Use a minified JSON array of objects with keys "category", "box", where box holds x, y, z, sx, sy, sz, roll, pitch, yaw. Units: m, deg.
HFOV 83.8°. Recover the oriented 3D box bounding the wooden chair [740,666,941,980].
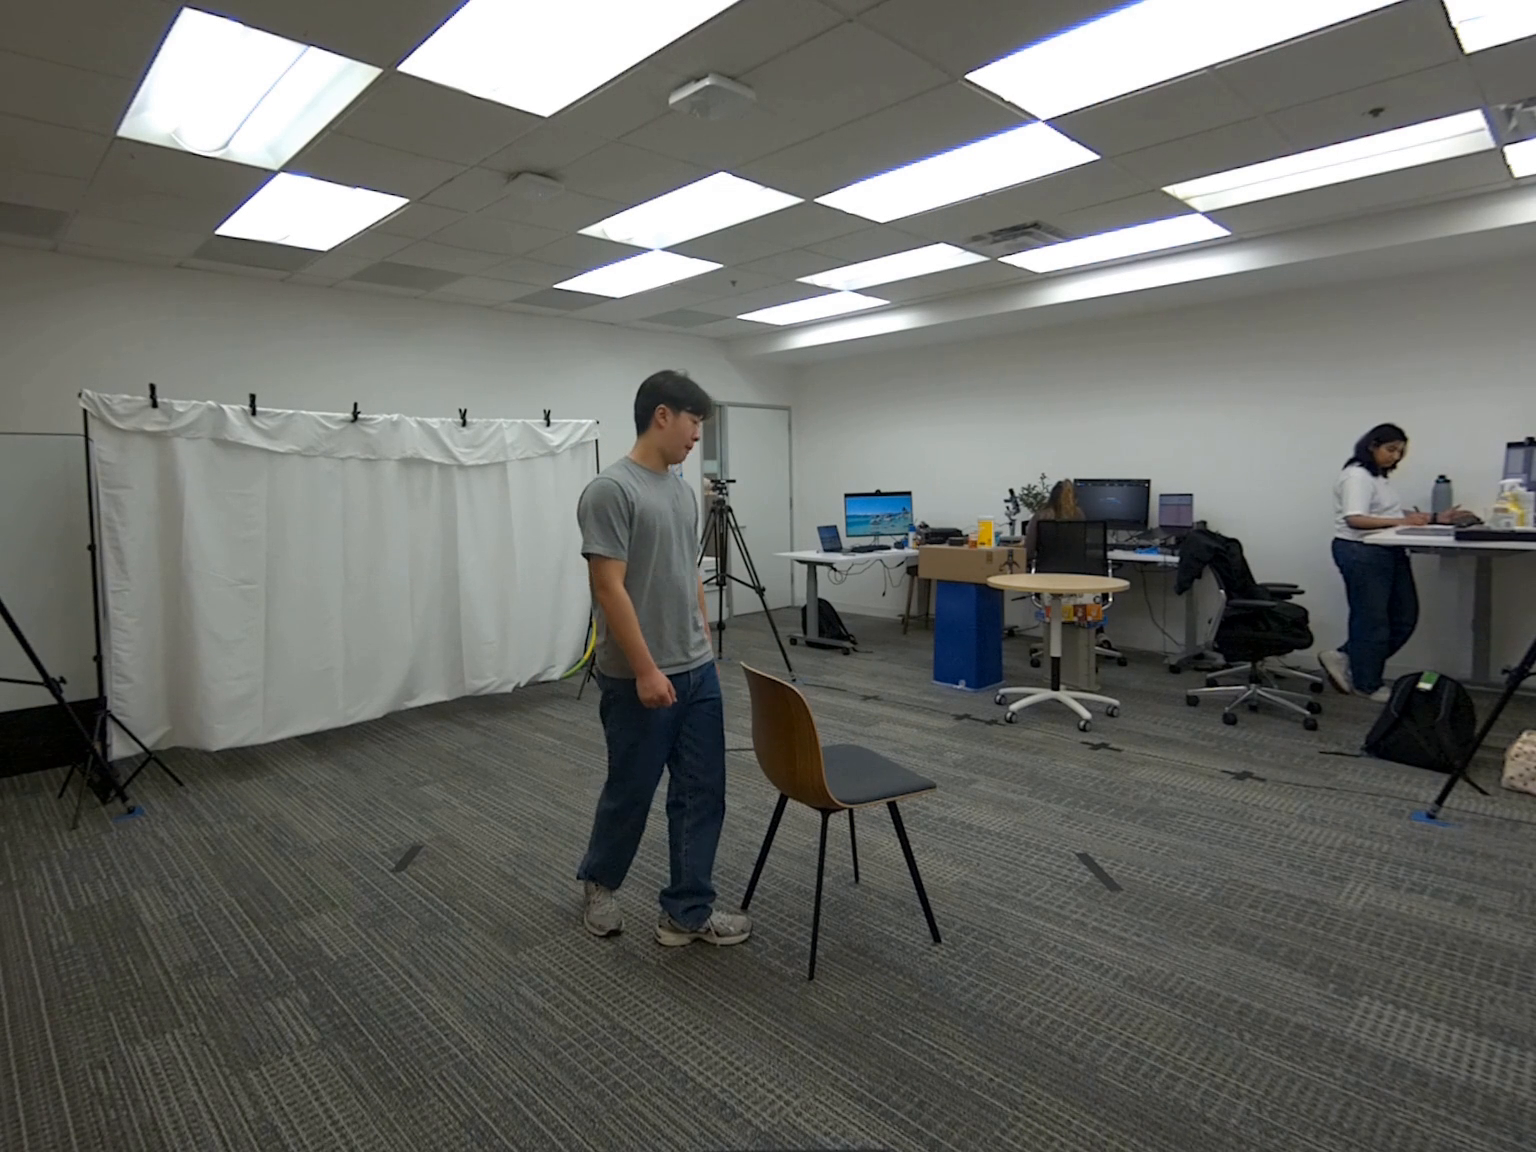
[{"category":"wooden chair","box":[0.217,0.667,2.642,0.513,0.872,0.490,-8,7,-25]}]
